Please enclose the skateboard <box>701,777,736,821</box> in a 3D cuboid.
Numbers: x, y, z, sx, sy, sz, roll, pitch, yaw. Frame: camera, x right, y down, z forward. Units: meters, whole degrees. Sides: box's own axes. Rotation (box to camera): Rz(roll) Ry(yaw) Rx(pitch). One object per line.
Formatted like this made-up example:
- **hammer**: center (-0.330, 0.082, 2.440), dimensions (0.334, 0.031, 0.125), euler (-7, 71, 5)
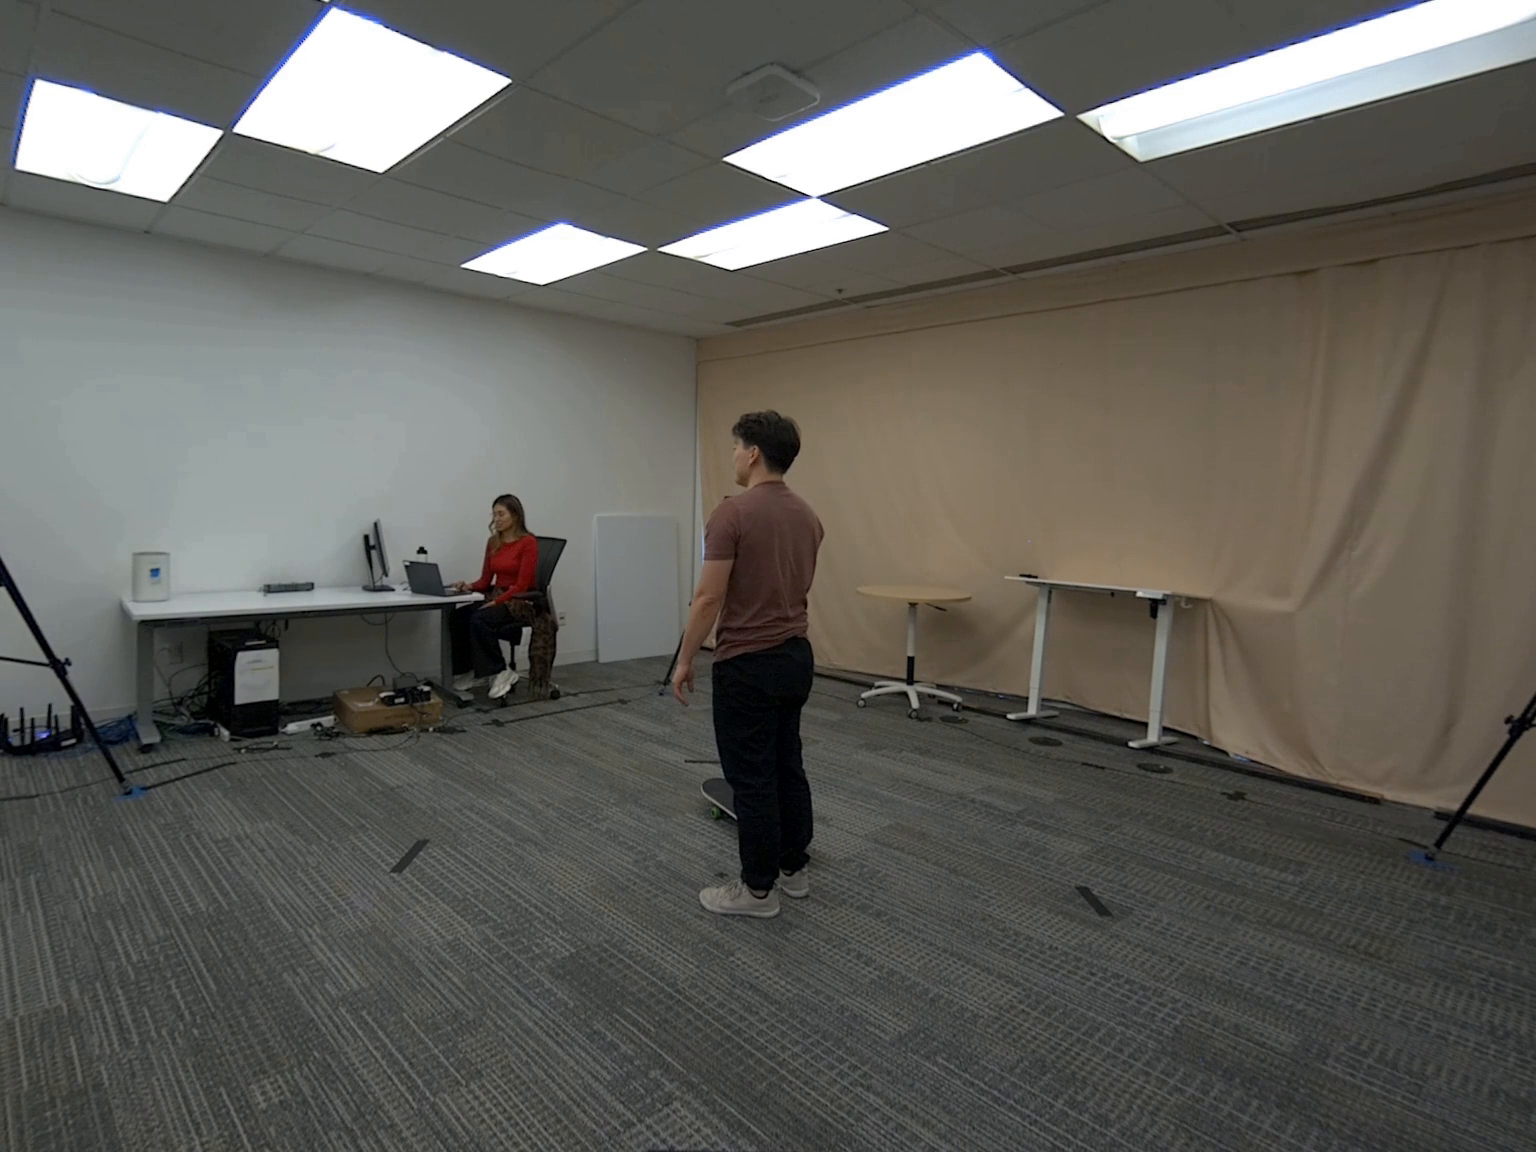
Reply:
- **skateboard**: center (-0.069, 1.020, 3.512), dimensions (0.189, 0.110, 0.803), euler (0, 5, -29)
